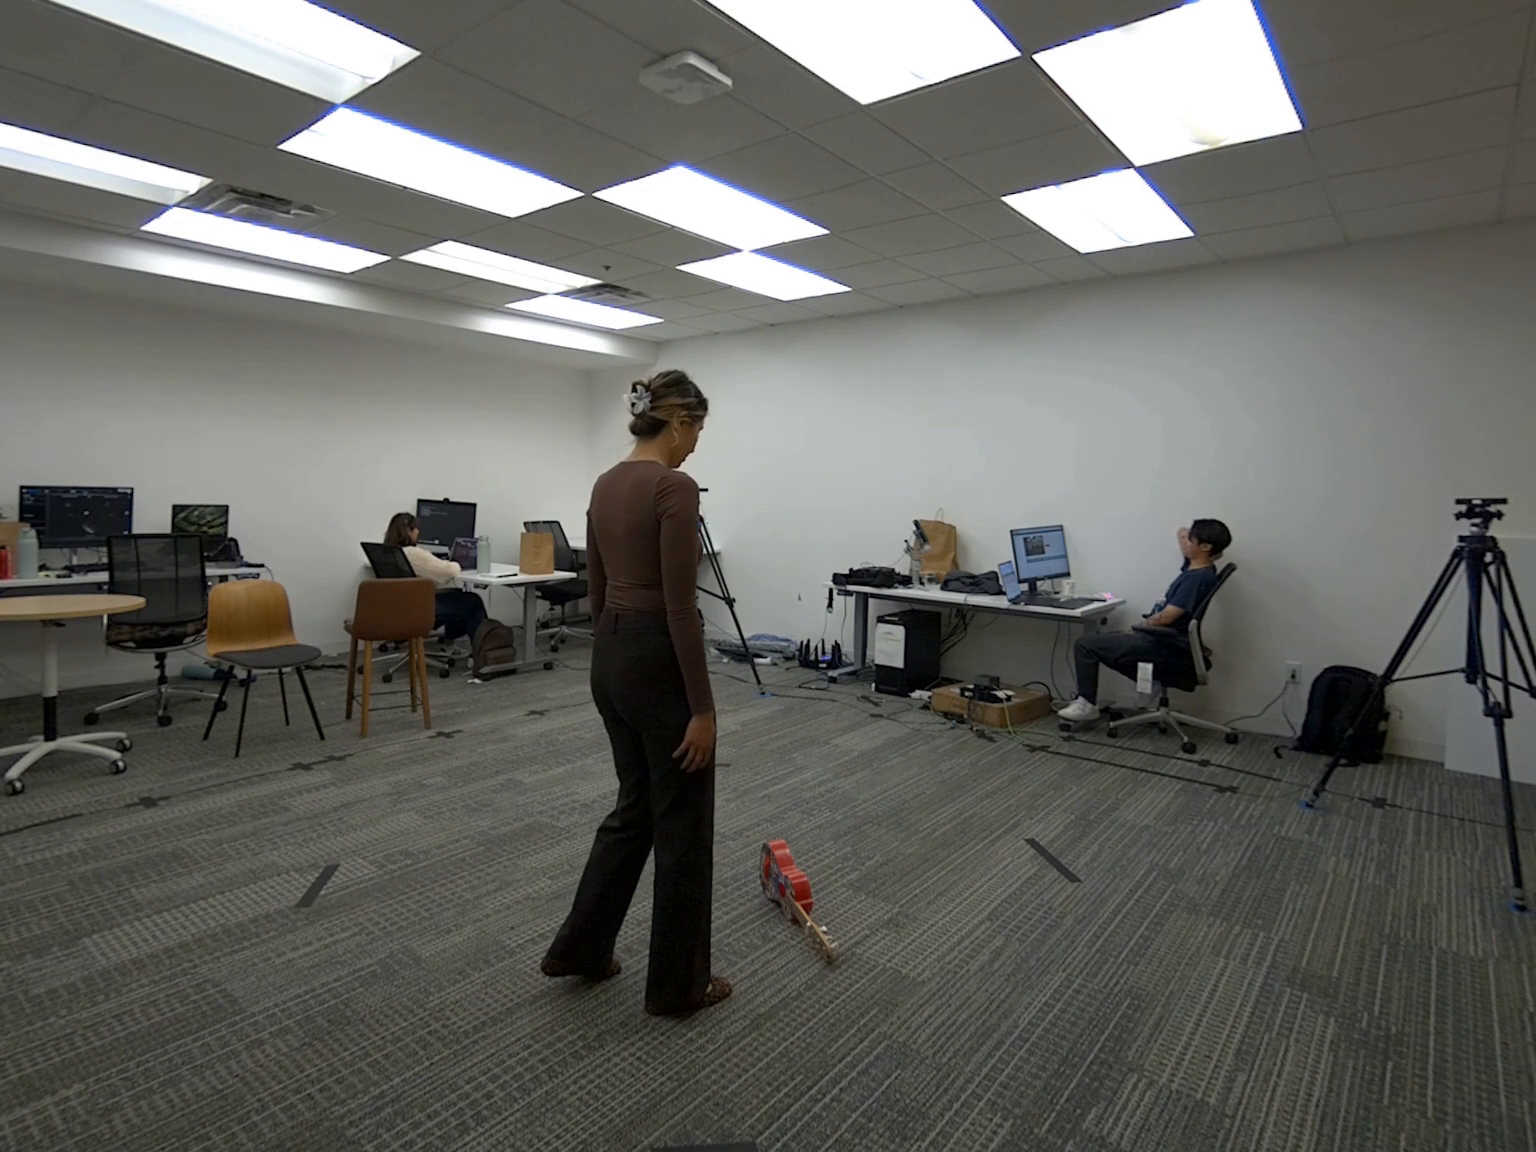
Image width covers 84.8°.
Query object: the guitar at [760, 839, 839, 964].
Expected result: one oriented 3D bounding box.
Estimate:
[{"bbox_3d":[0.090,1.071,2.737,0.069,0.190,0.517,-3,24,-24],"label":"guitar"}]
